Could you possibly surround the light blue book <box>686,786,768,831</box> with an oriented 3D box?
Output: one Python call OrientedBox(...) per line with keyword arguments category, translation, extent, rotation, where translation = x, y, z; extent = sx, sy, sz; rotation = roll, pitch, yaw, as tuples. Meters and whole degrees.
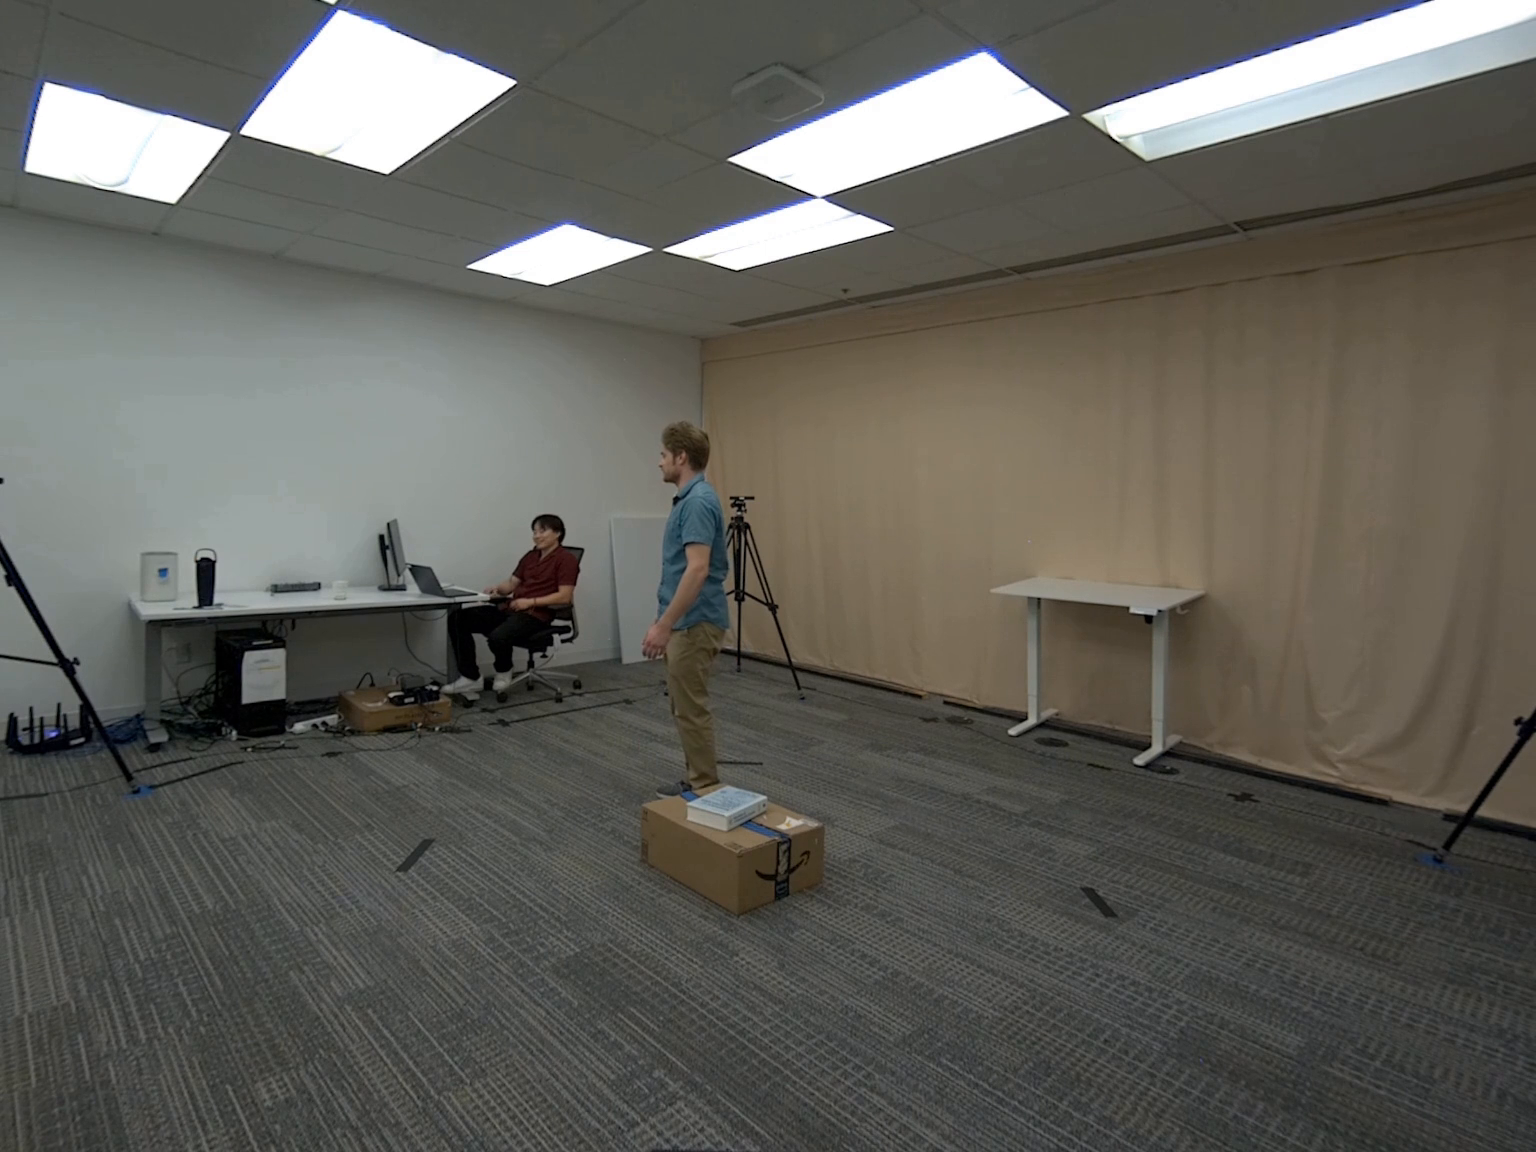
OrientedBox(category="light blue book", translation=(-0.161, 0.861, 3.131), extent=(0.196, 0.059, 0.255), rotation=(4, 5, 34))
